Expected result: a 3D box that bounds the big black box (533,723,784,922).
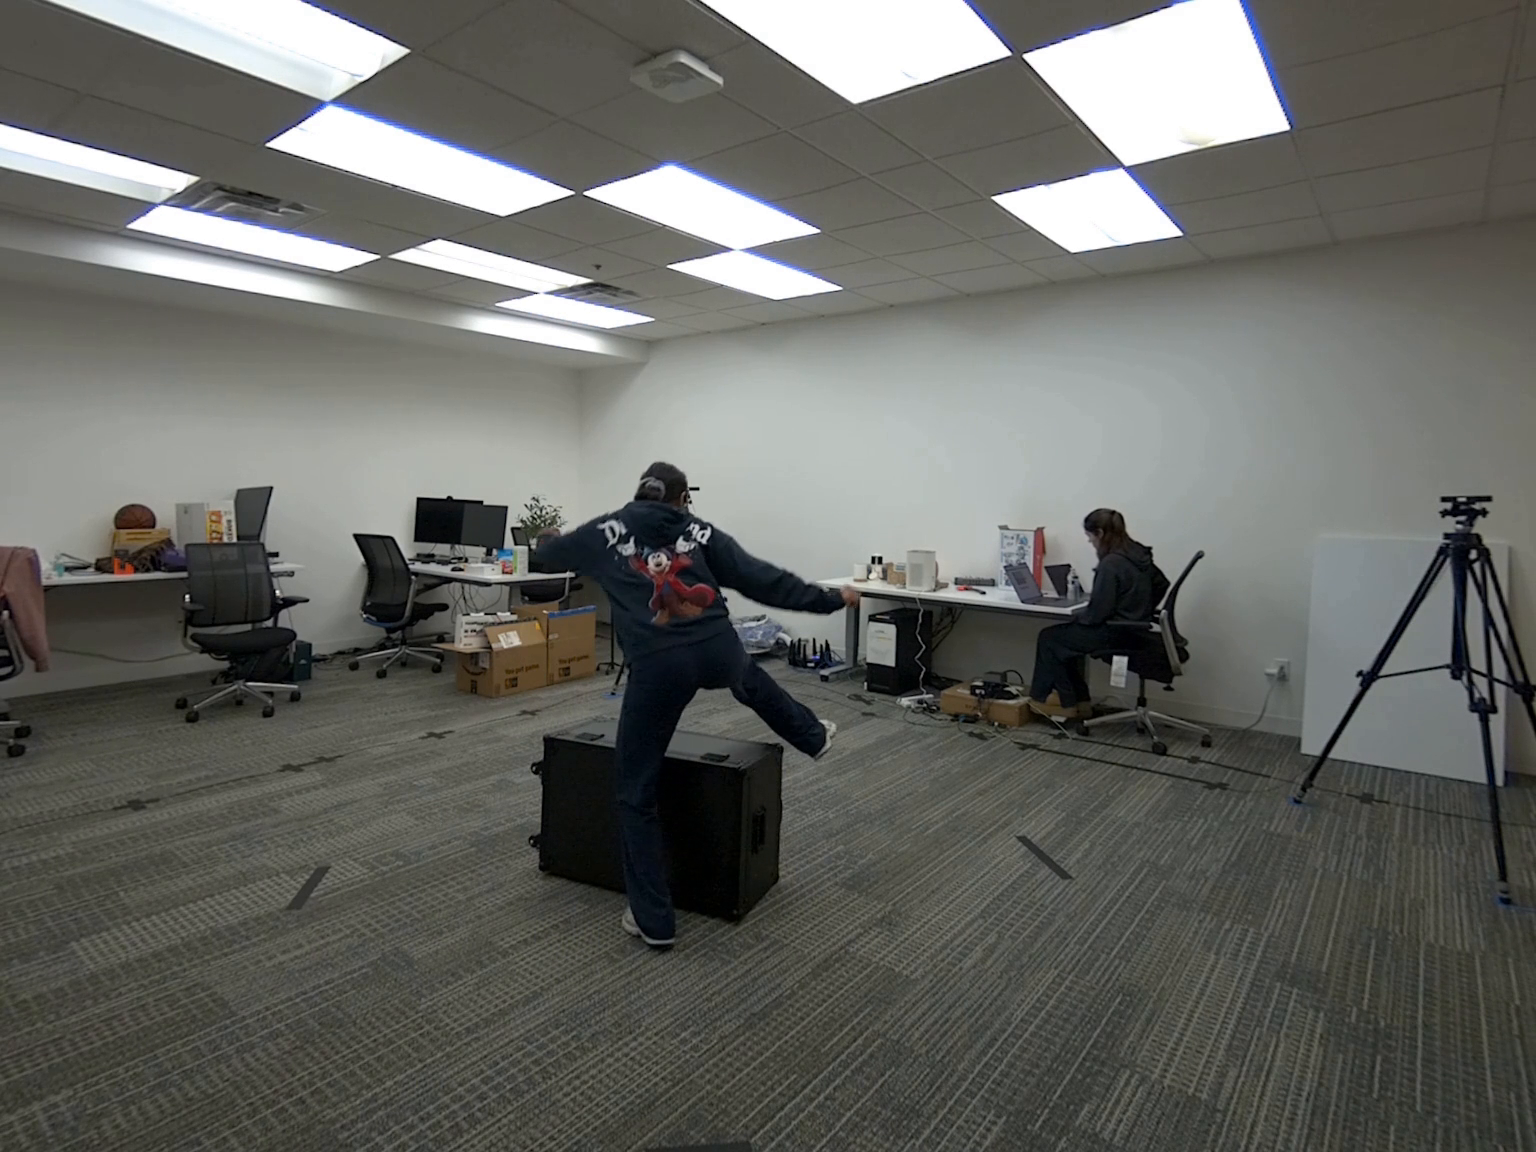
[{"bbox_3d":[-0.415,0.813,3.051,0.883,0.521,0.387,3,1,24],"label":"big black box"}]
